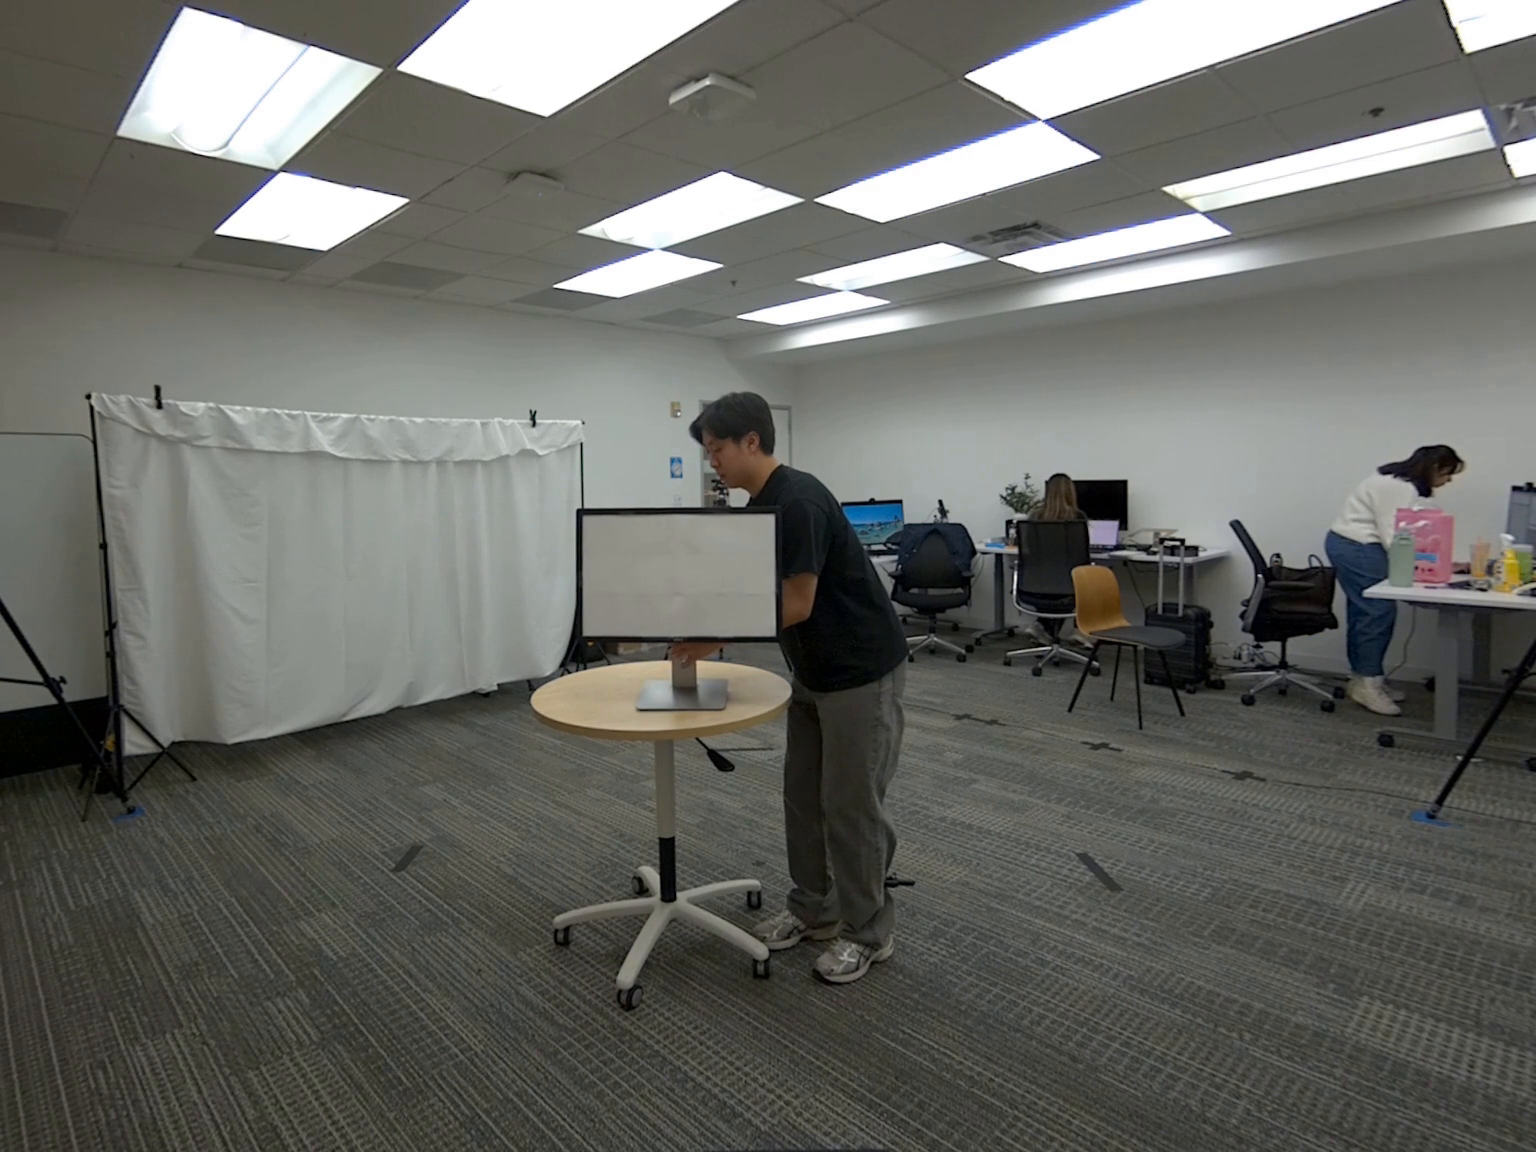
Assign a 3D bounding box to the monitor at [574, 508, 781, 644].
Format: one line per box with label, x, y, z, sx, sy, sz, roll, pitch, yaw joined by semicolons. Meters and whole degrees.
monitor;-0.236;0.090;2.352;0.564;0.559;0.224;0;13;5
